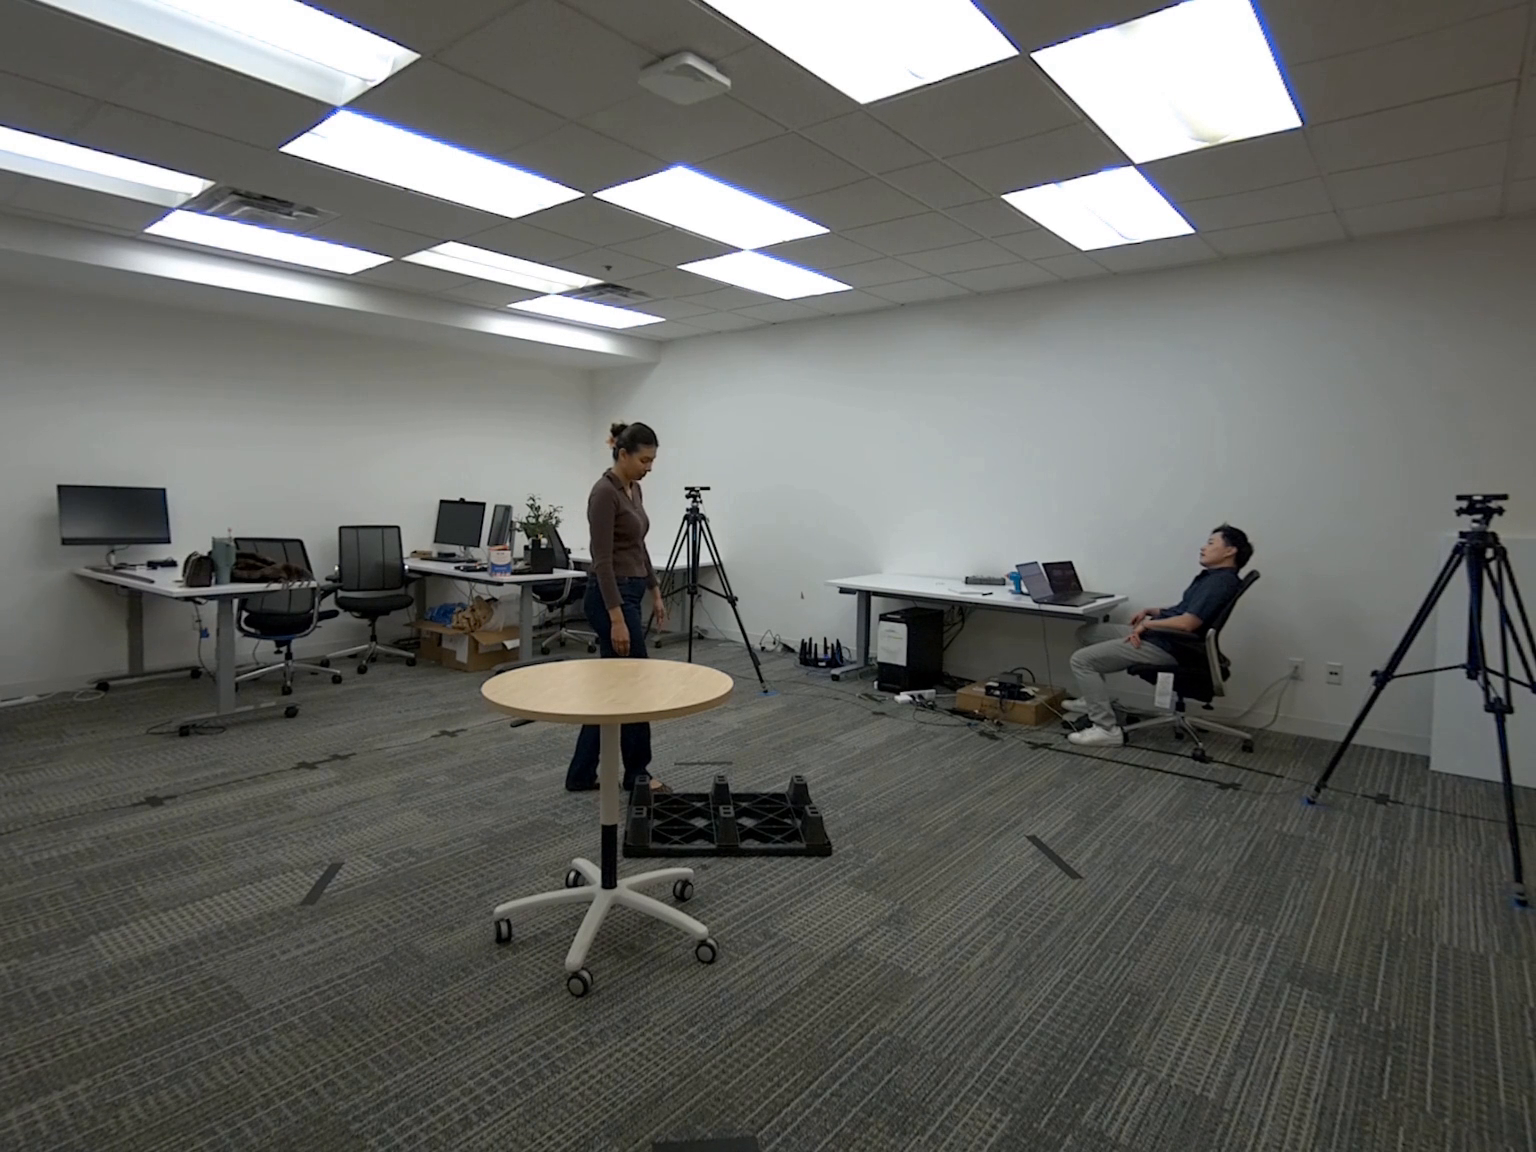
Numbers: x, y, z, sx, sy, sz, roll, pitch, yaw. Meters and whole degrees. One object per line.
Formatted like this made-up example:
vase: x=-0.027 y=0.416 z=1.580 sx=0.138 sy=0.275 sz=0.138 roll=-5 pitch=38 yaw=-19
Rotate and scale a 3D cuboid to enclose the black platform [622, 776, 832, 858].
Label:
black platform: x=-0.186 y=0.960 z=3.499 sx=0.802 sy=0.143 sz=0.611 roll=0 pitch=6 yaw=-5
